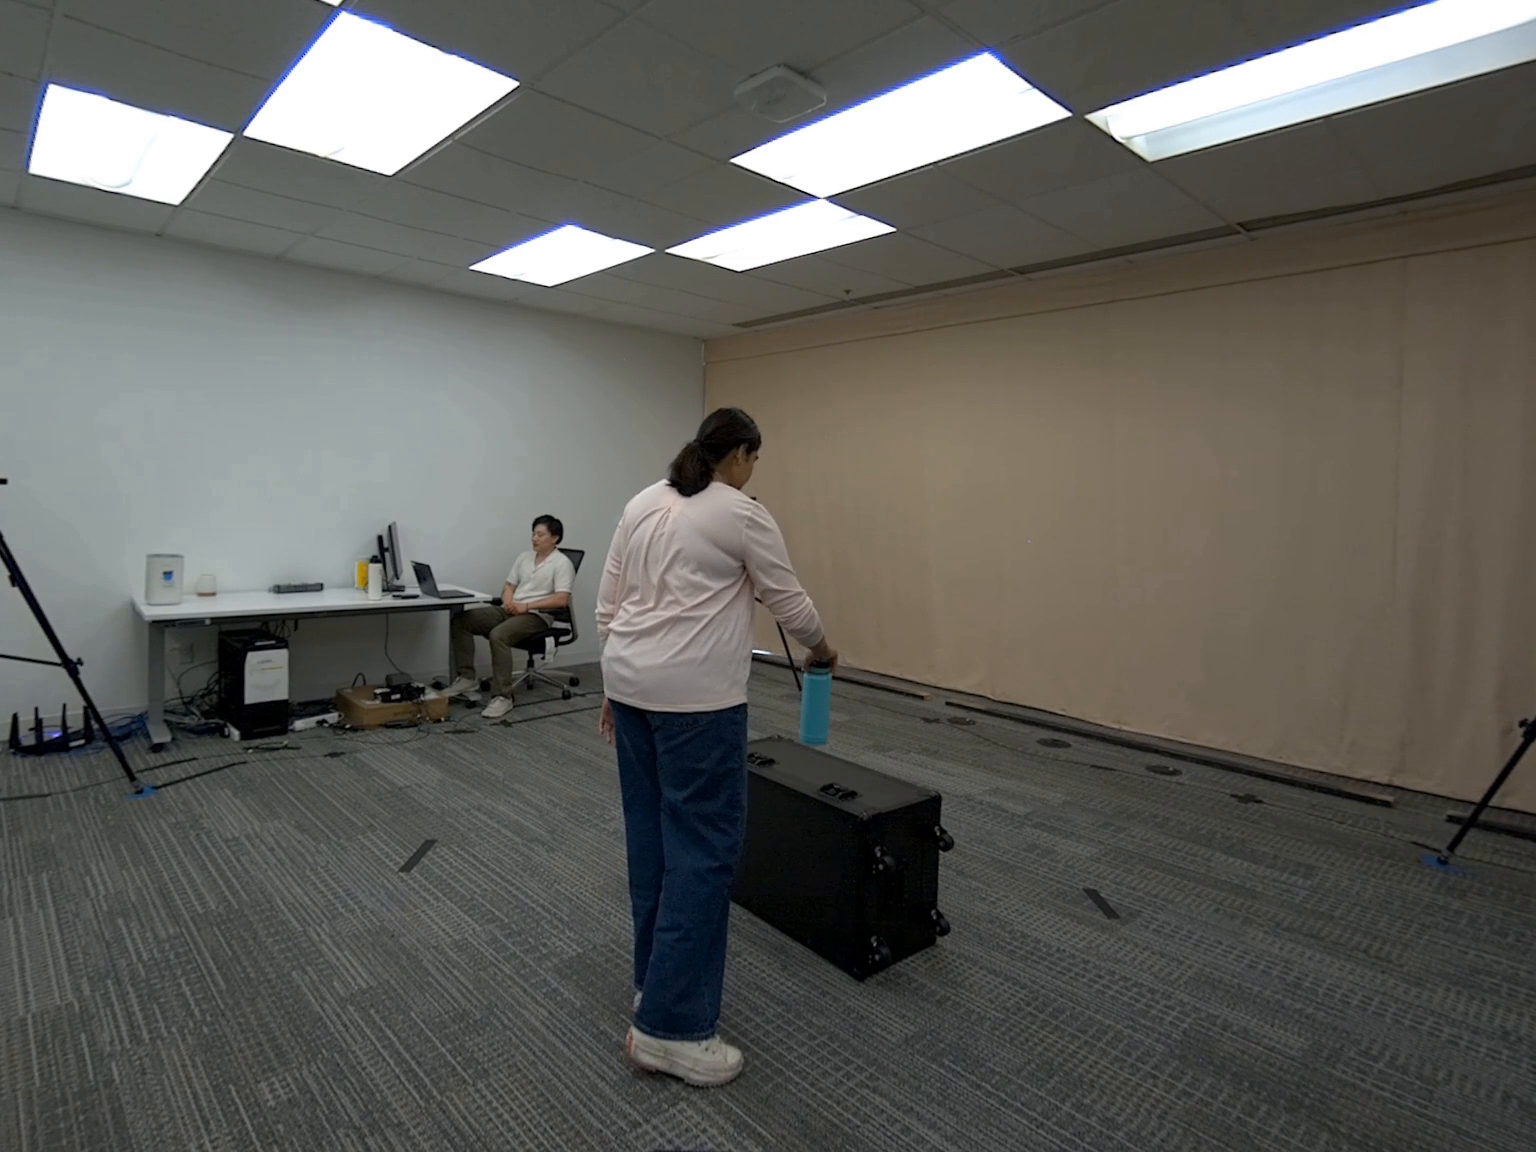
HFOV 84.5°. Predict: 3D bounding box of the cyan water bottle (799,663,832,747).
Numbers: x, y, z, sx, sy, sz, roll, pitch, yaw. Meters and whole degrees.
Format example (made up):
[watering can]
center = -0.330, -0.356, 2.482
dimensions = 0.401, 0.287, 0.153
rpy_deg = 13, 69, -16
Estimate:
[cyan water bottle]
center = 0.147, 0.387, 2.627
dimensions = 0.092, 0.281, 0.093
rpy_deg = 0, 11, -1
